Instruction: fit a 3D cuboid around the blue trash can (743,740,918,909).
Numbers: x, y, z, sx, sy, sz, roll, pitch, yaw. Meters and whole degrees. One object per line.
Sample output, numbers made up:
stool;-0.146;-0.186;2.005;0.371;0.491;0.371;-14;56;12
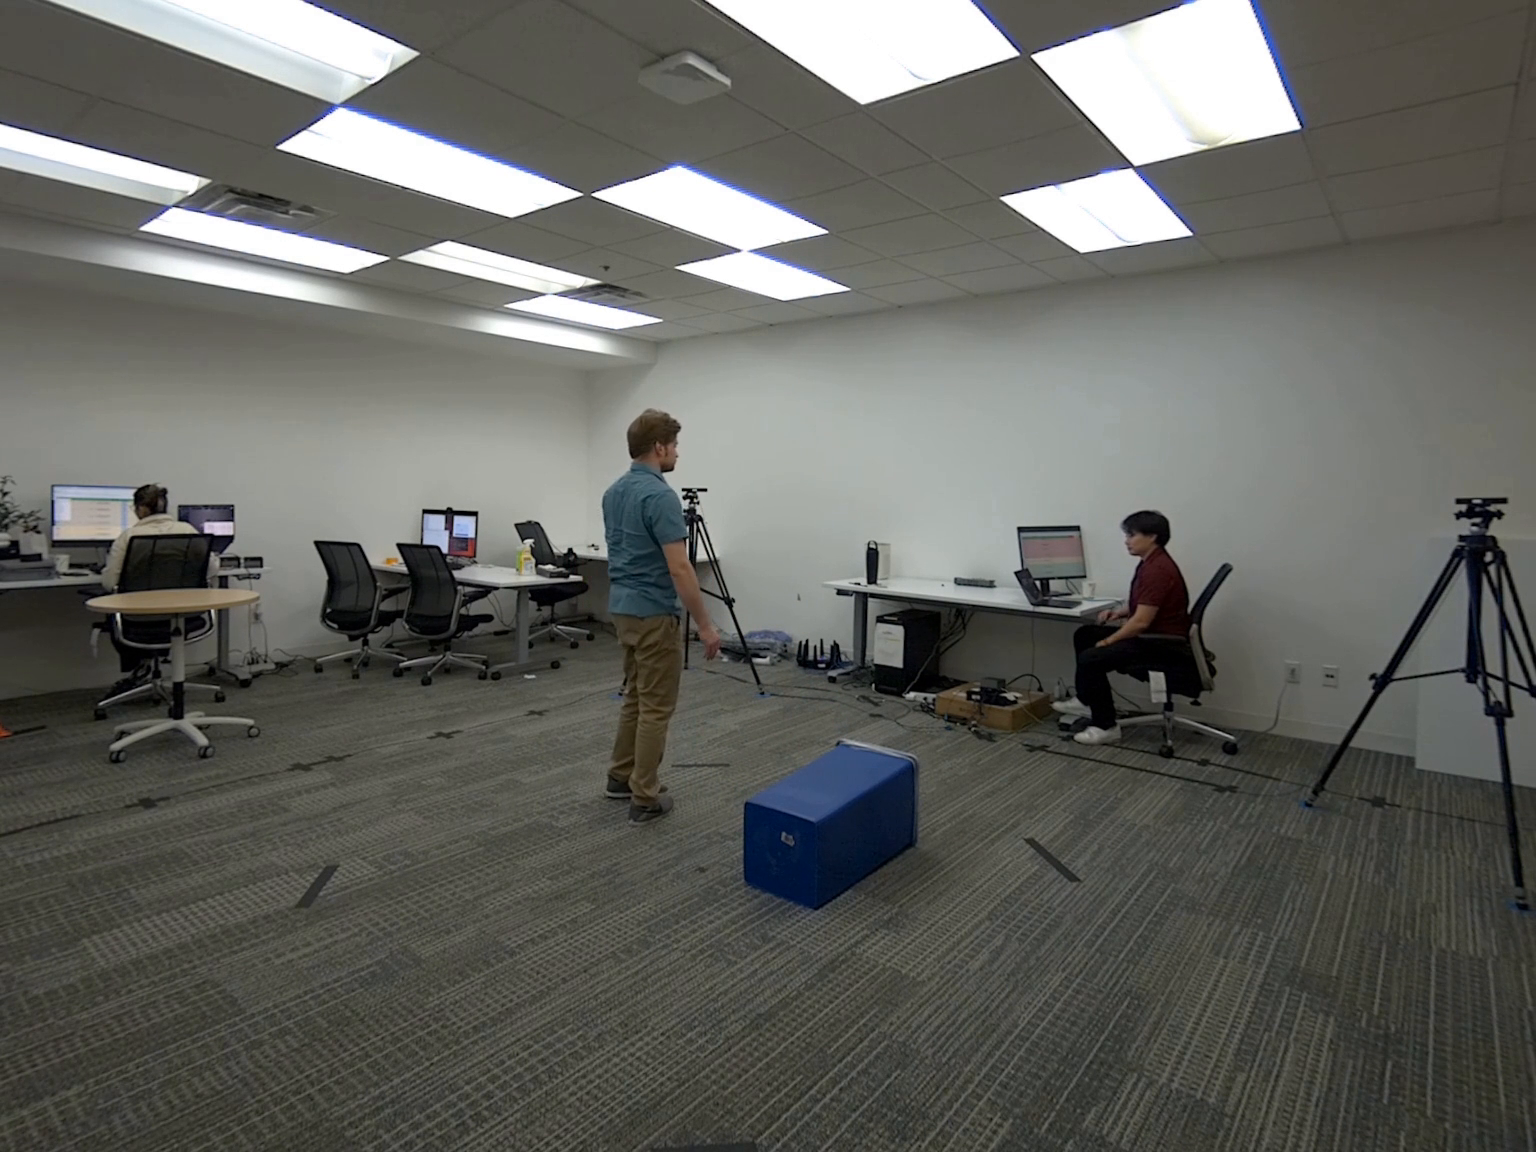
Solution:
blue trash can;0.235;0.910;3.166;0.386;0.376;0.695;4;9;36
